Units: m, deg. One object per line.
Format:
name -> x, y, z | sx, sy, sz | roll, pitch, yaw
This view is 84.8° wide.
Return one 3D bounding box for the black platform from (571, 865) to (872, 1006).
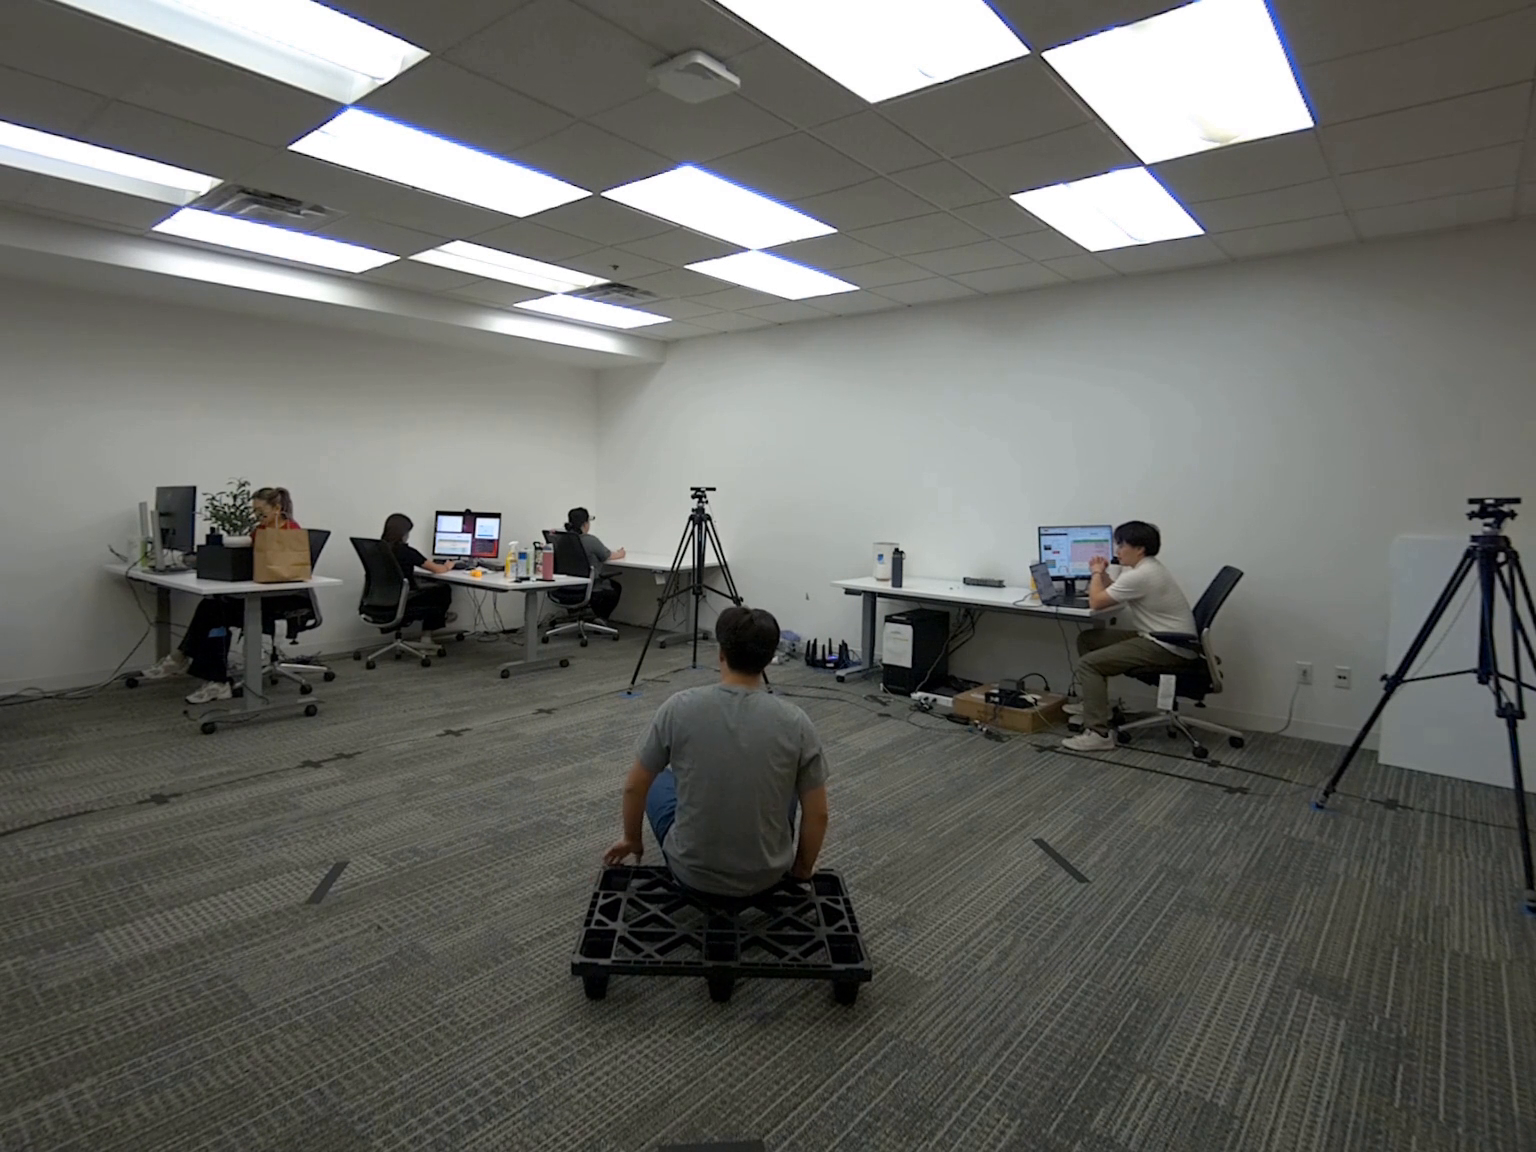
black platform -> -0.152, 1.052, 2.532 | 0.805, 0.143, 0.607 | 1, 5, -1
